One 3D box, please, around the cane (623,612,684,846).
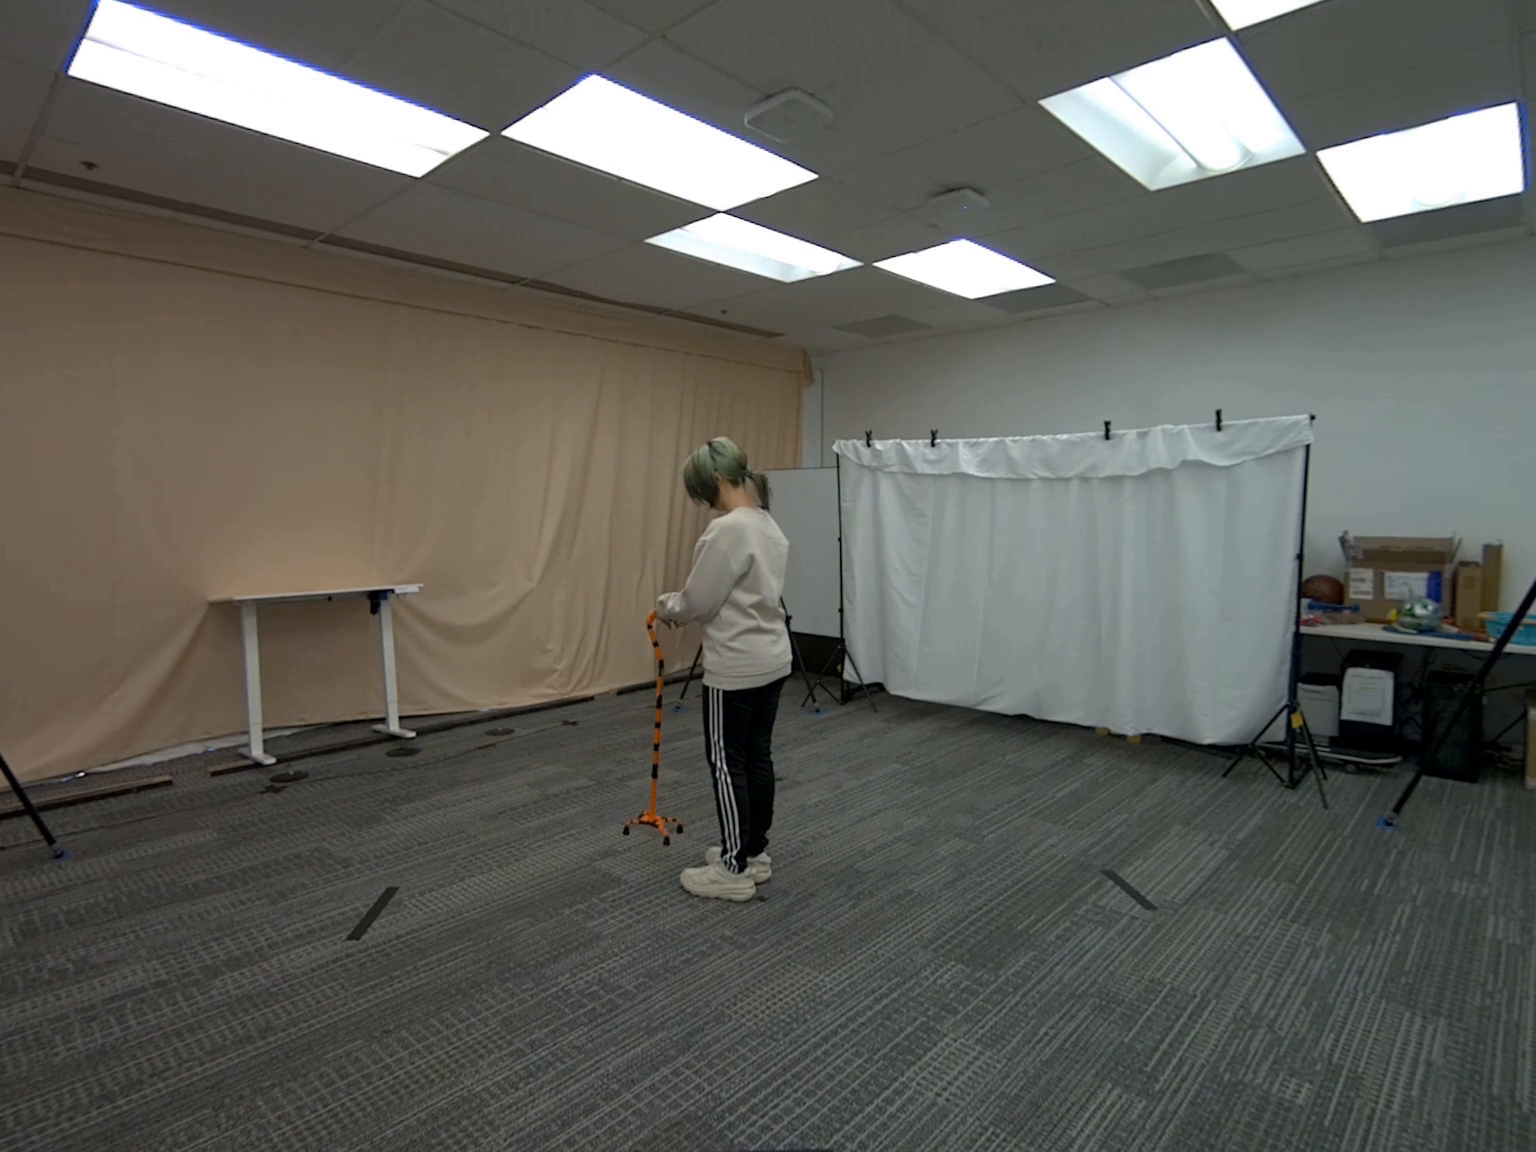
[{"bbox_3d":[-0.433,0.585,3.296,0.211,0.904,0.149,5,7,19],"label":"cane"}]
